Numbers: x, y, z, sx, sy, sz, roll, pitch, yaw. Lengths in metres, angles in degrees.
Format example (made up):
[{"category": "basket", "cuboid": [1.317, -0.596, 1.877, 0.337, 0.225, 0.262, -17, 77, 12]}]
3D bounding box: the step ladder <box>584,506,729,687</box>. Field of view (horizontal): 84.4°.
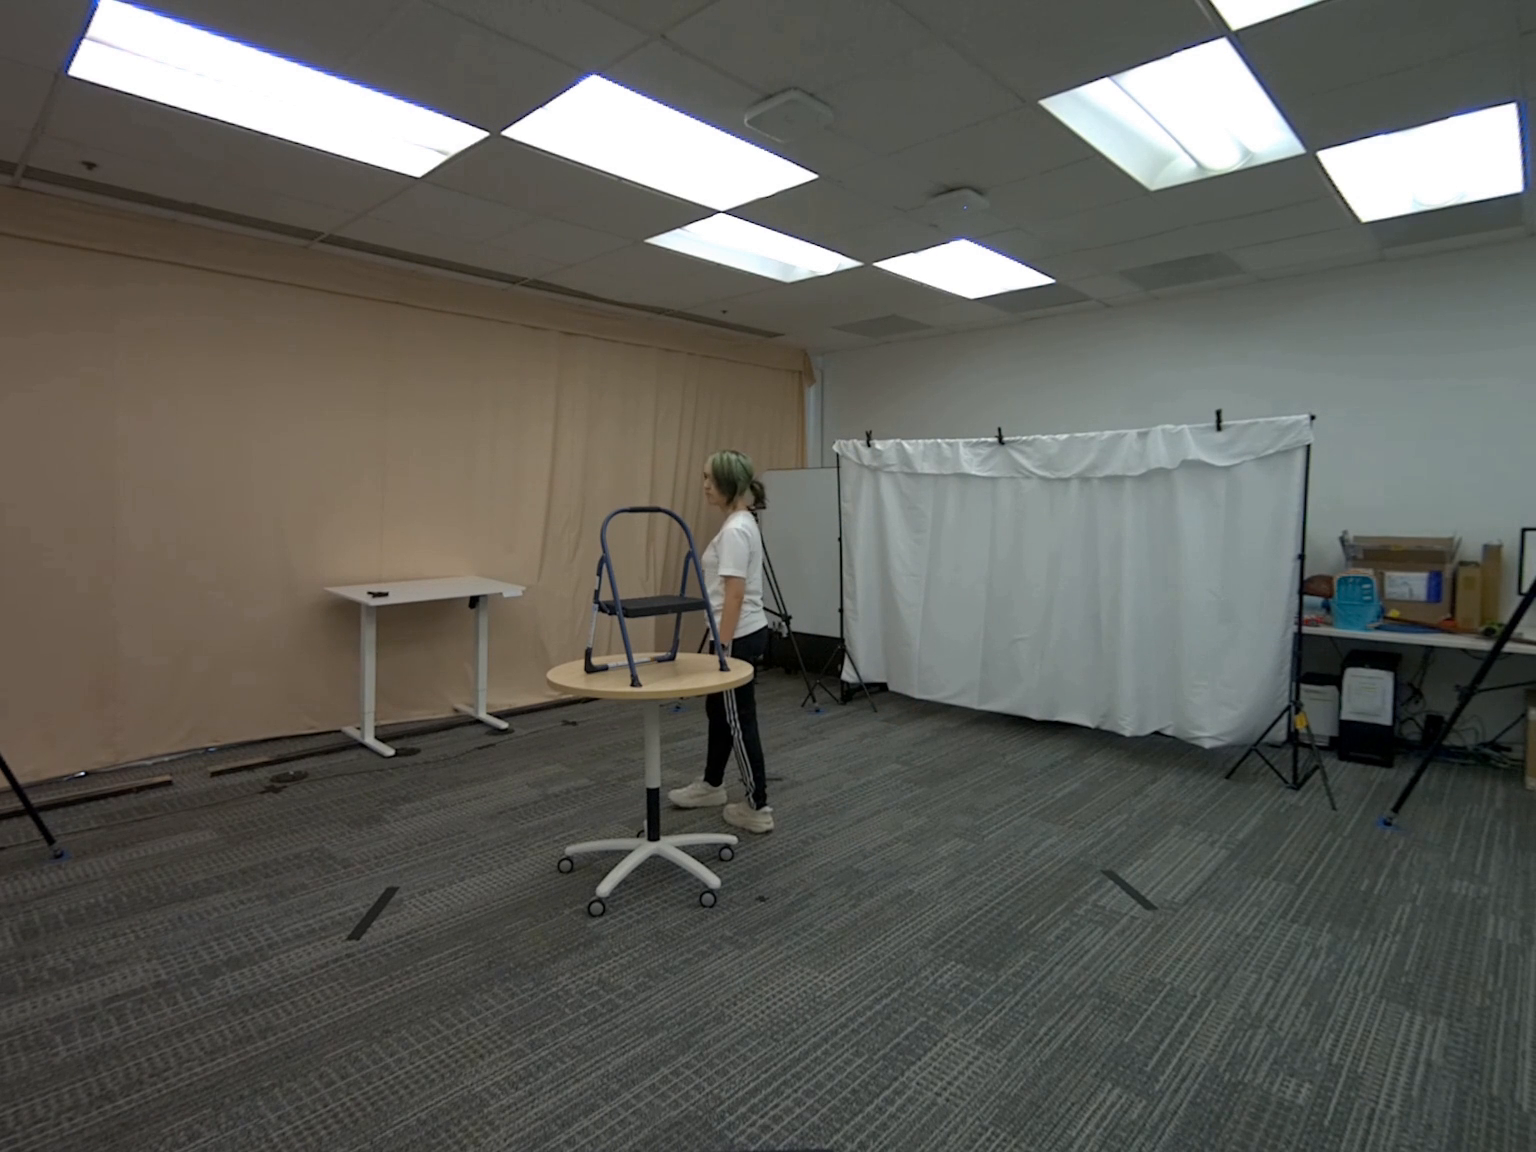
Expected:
[{"category": "step ladder", "cuboid": [-0.418, 0.053, 3.075, 0.417, 0.605, 0.361, -2, 3, -42]}]
